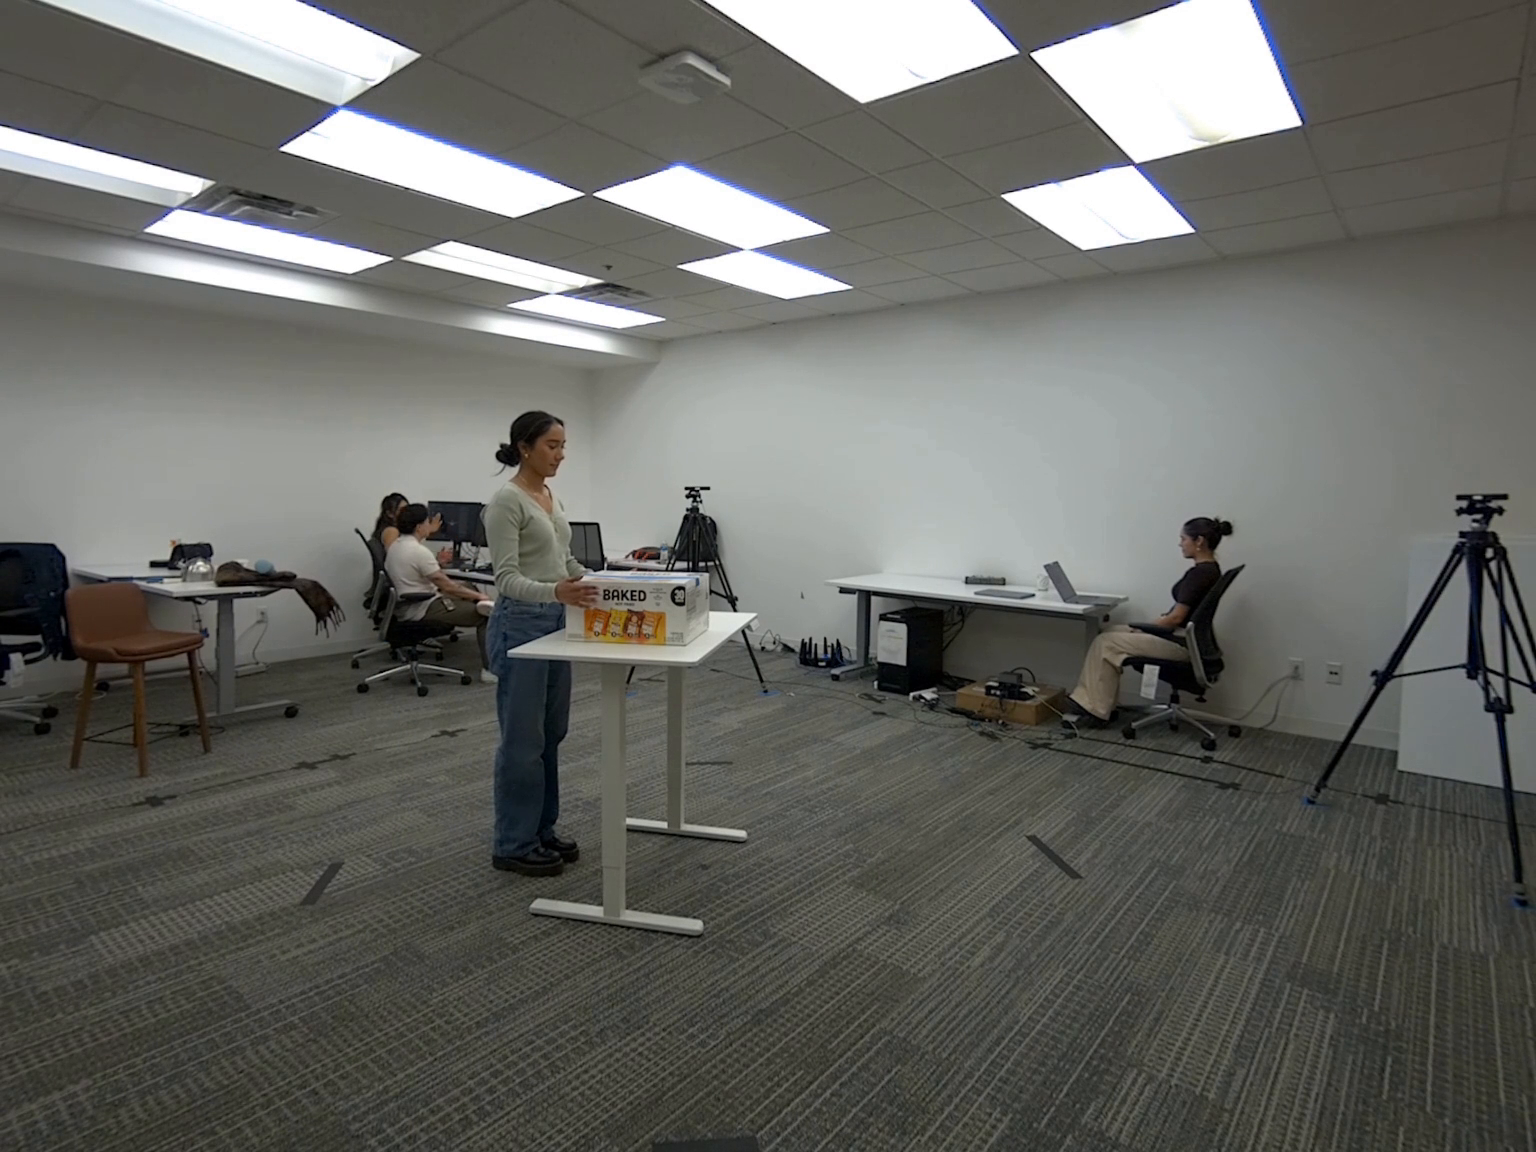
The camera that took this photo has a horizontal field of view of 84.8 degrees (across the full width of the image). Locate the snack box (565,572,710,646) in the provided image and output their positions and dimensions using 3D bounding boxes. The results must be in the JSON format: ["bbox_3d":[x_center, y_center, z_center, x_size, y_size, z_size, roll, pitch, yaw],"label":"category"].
[{"bbox_3d":[-0.438,0.100,2.905,0.410,0.205,0.337,1,6,11],"label":"snack box"}]
